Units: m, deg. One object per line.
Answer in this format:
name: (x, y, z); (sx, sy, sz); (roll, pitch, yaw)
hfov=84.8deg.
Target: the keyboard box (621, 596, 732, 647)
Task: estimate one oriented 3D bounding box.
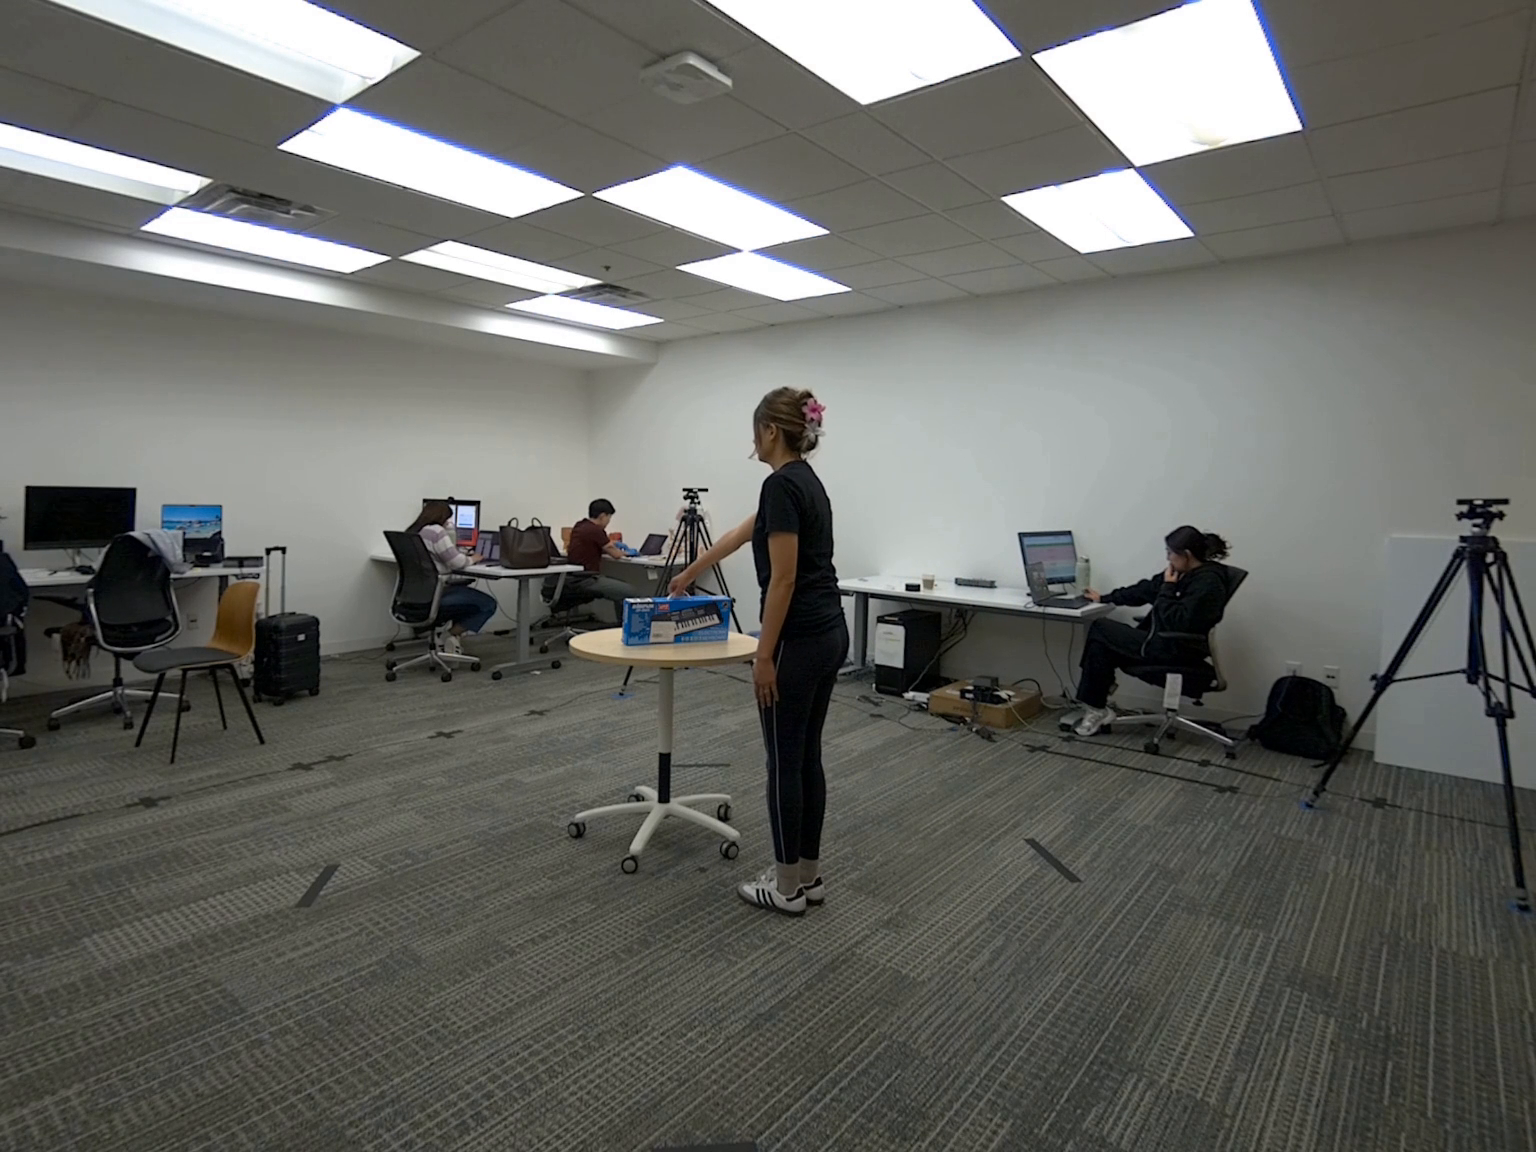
keyboard box: (-0.371, 0.173, 3.351); (0.426, 0.174, 0.061); (-1, 11, -27)
